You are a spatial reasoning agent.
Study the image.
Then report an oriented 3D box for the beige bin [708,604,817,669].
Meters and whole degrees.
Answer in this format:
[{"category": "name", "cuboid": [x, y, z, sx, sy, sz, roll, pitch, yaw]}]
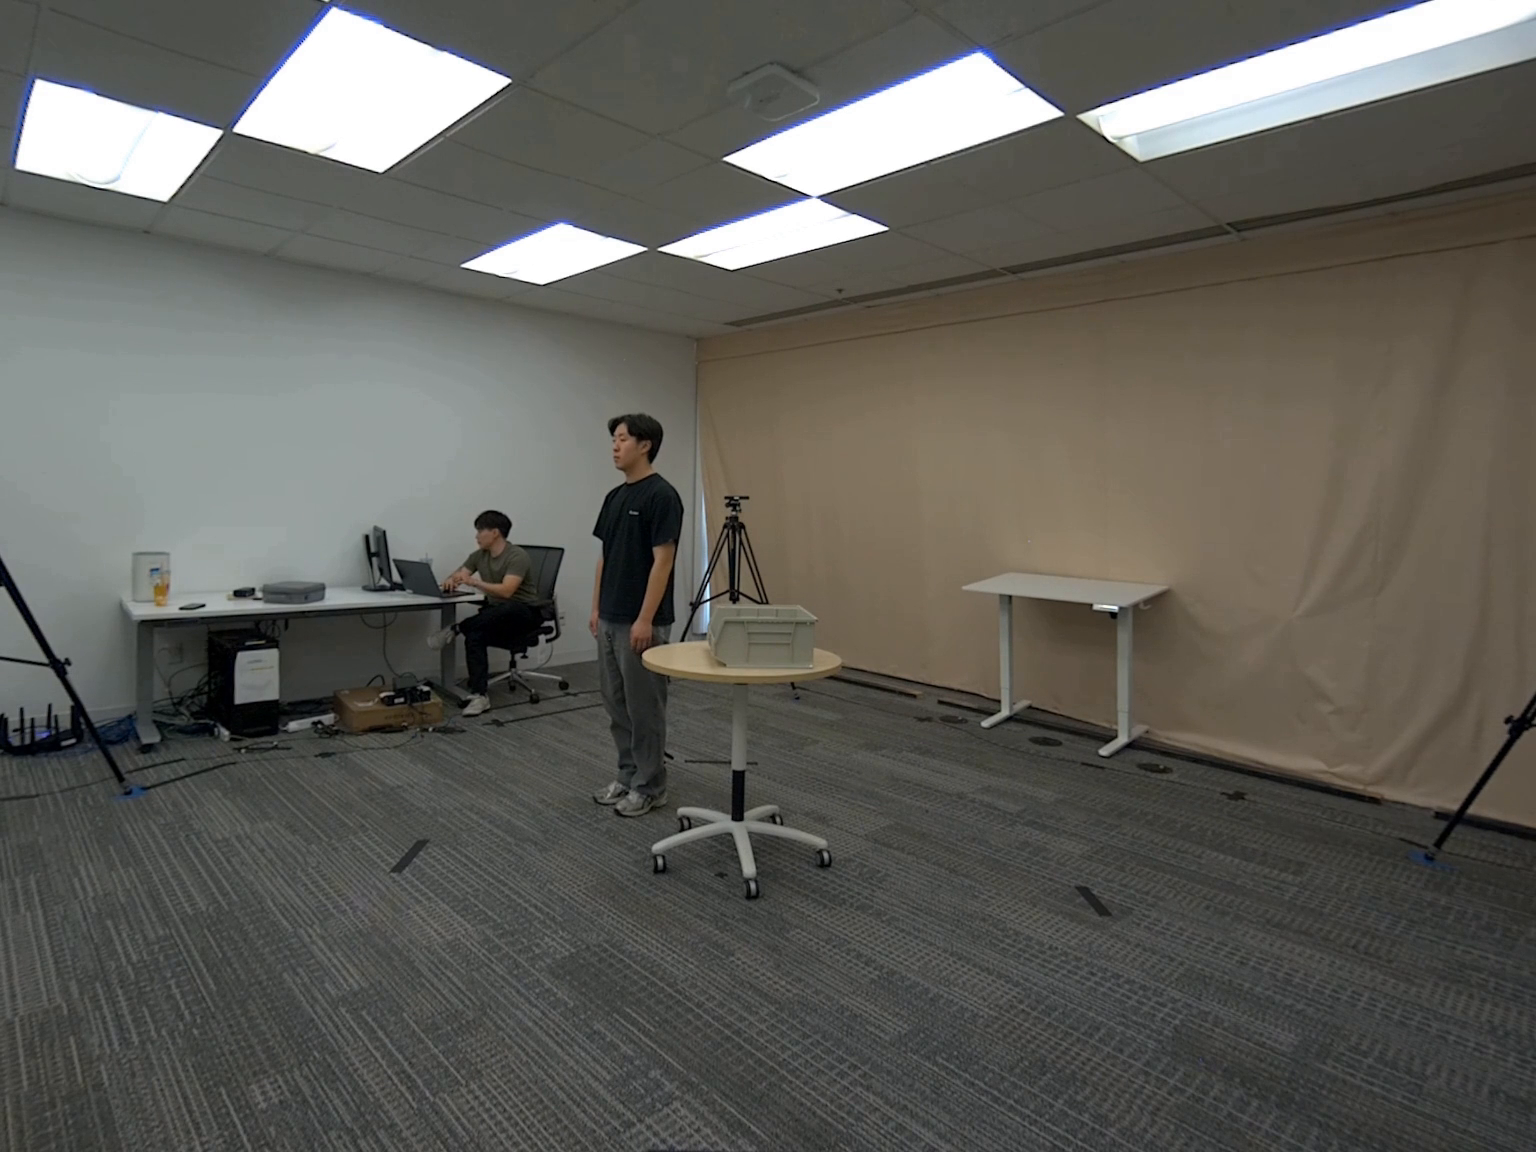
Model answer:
[{"category": "beige bin", "cuboid": [-0.041, 0.224, 3.211, 0.376, 0.188, 0.425, 2, 4, -6]}]
